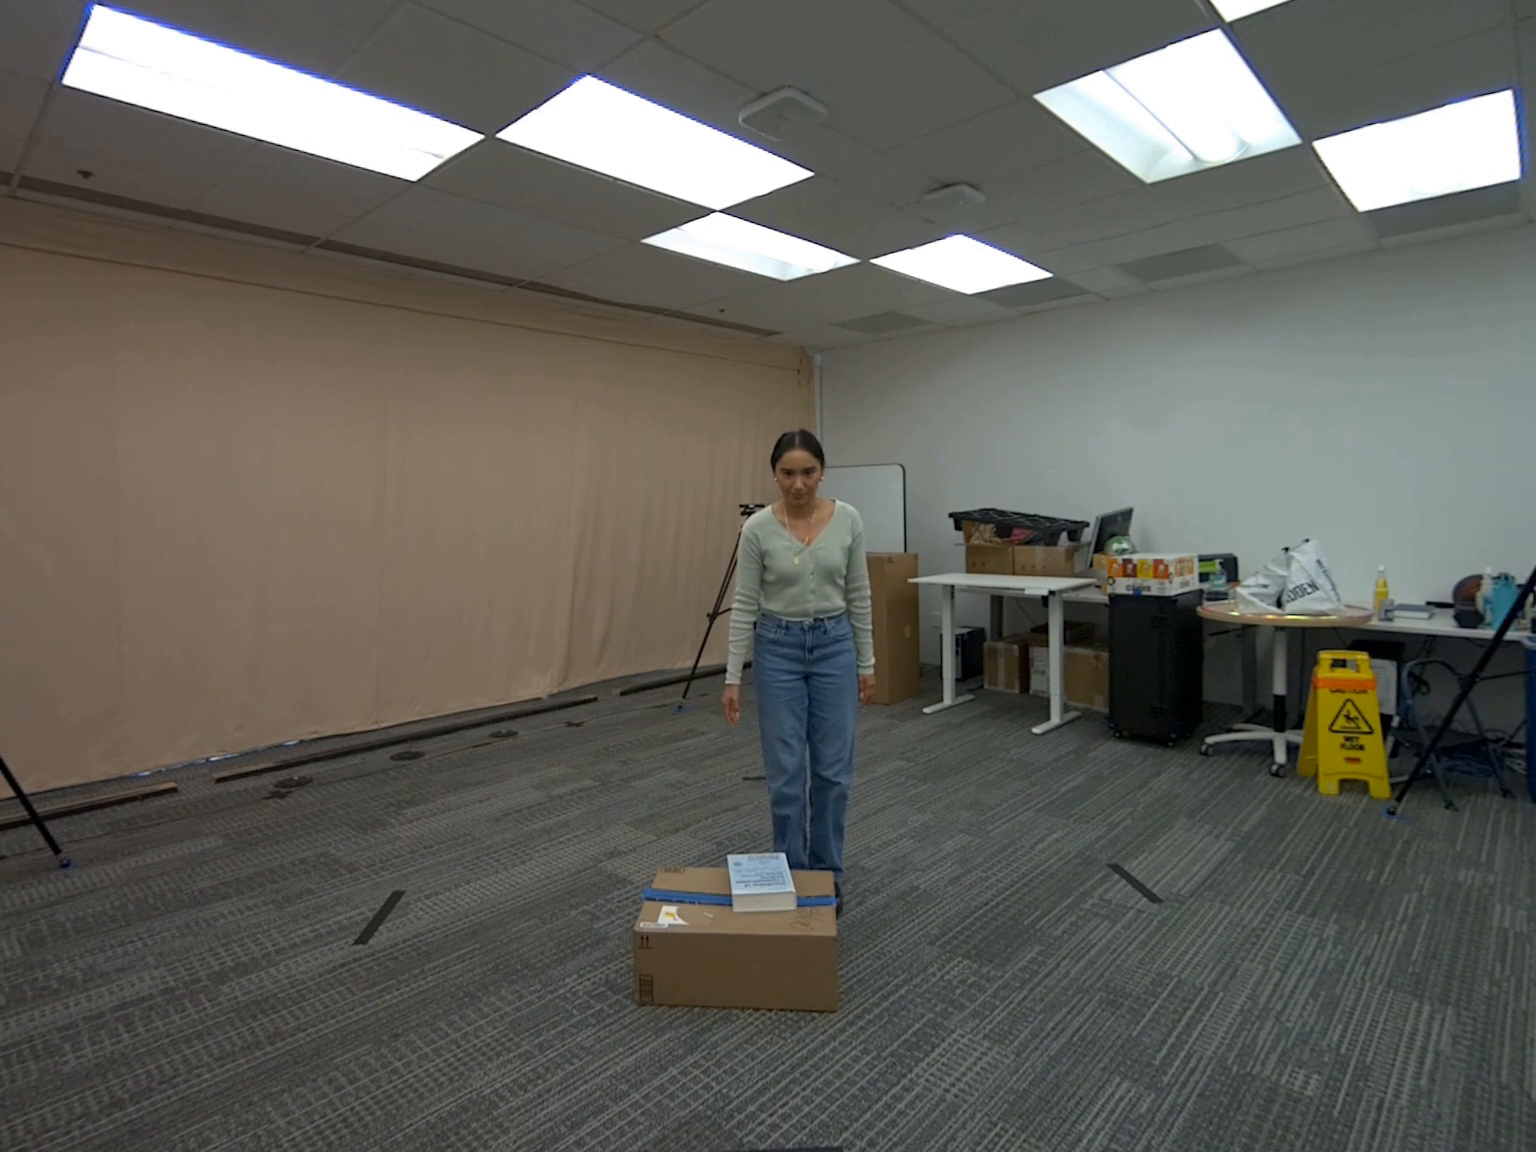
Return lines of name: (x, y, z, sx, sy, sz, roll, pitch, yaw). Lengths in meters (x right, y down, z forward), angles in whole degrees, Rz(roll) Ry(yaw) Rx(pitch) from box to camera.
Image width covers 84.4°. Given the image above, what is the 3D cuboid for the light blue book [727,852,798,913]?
light blue book: (-0.020, 0.936, 2.573, 0.191, 0.059, 0.263, -2, 6, -4)
